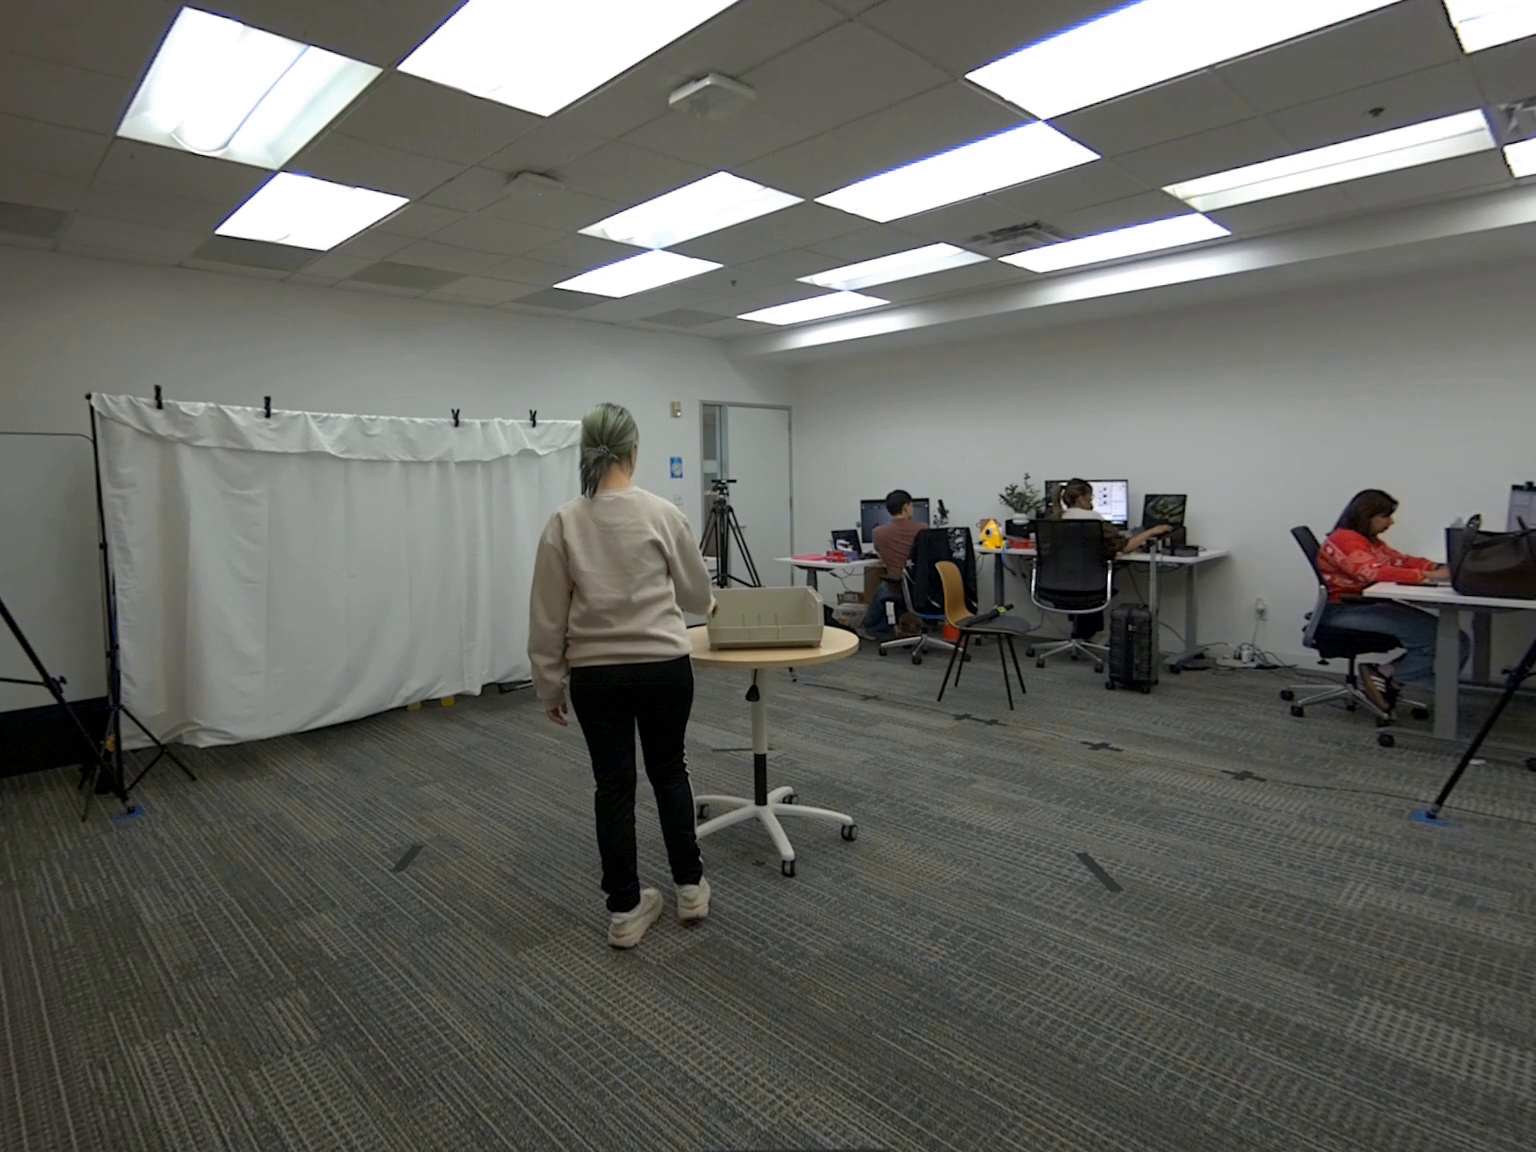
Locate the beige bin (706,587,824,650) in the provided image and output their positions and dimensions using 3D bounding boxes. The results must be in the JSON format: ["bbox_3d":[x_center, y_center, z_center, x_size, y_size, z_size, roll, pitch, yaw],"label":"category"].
[{"bbox_3d":[-0.023,0.158,3.219,0.422,0.188,0.379,-2,4,-1],"label":"beige bin"}]
